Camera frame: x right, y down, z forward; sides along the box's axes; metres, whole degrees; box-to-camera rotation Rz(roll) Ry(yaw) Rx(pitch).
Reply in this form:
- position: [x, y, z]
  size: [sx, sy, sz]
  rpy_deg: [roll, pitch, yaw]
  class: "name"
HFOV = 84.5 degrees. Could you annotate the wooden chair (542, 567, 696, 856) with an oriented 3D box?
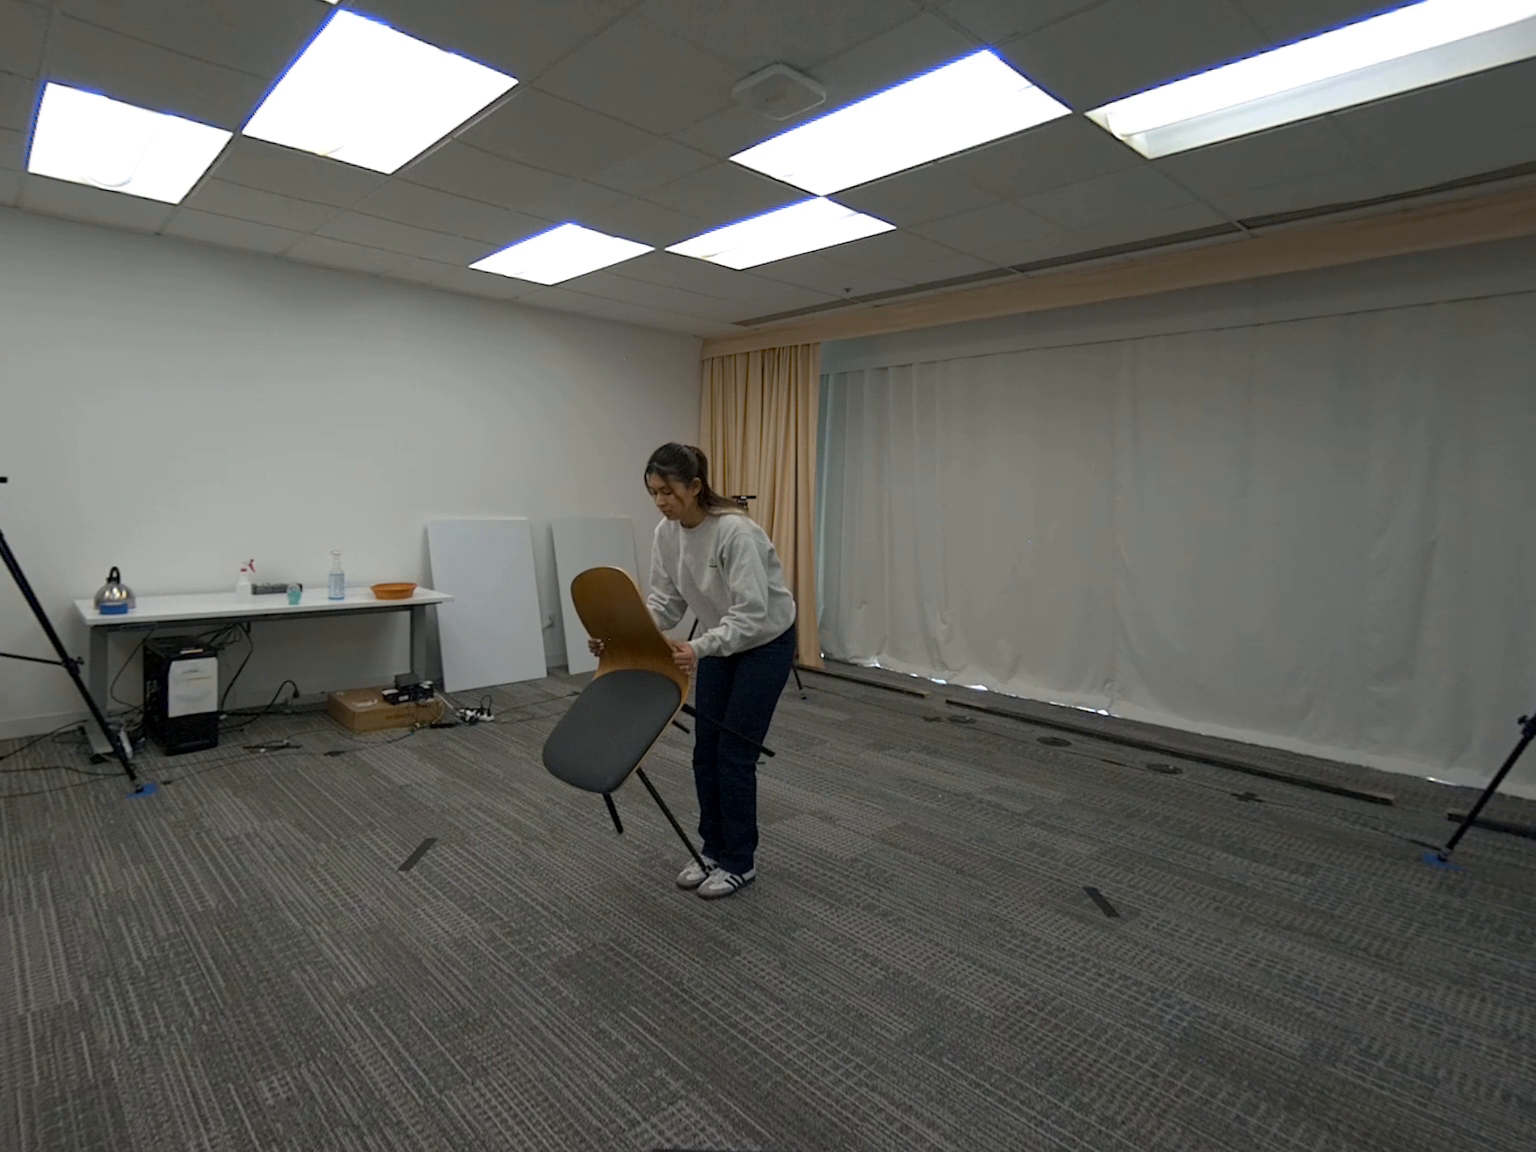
- position: [-0.463, 0.473, 2.698]
  size: [0.490, 0.854, 0.524]
  rpy_deg: [4, 43, 43]
  class: "wooden chair"
